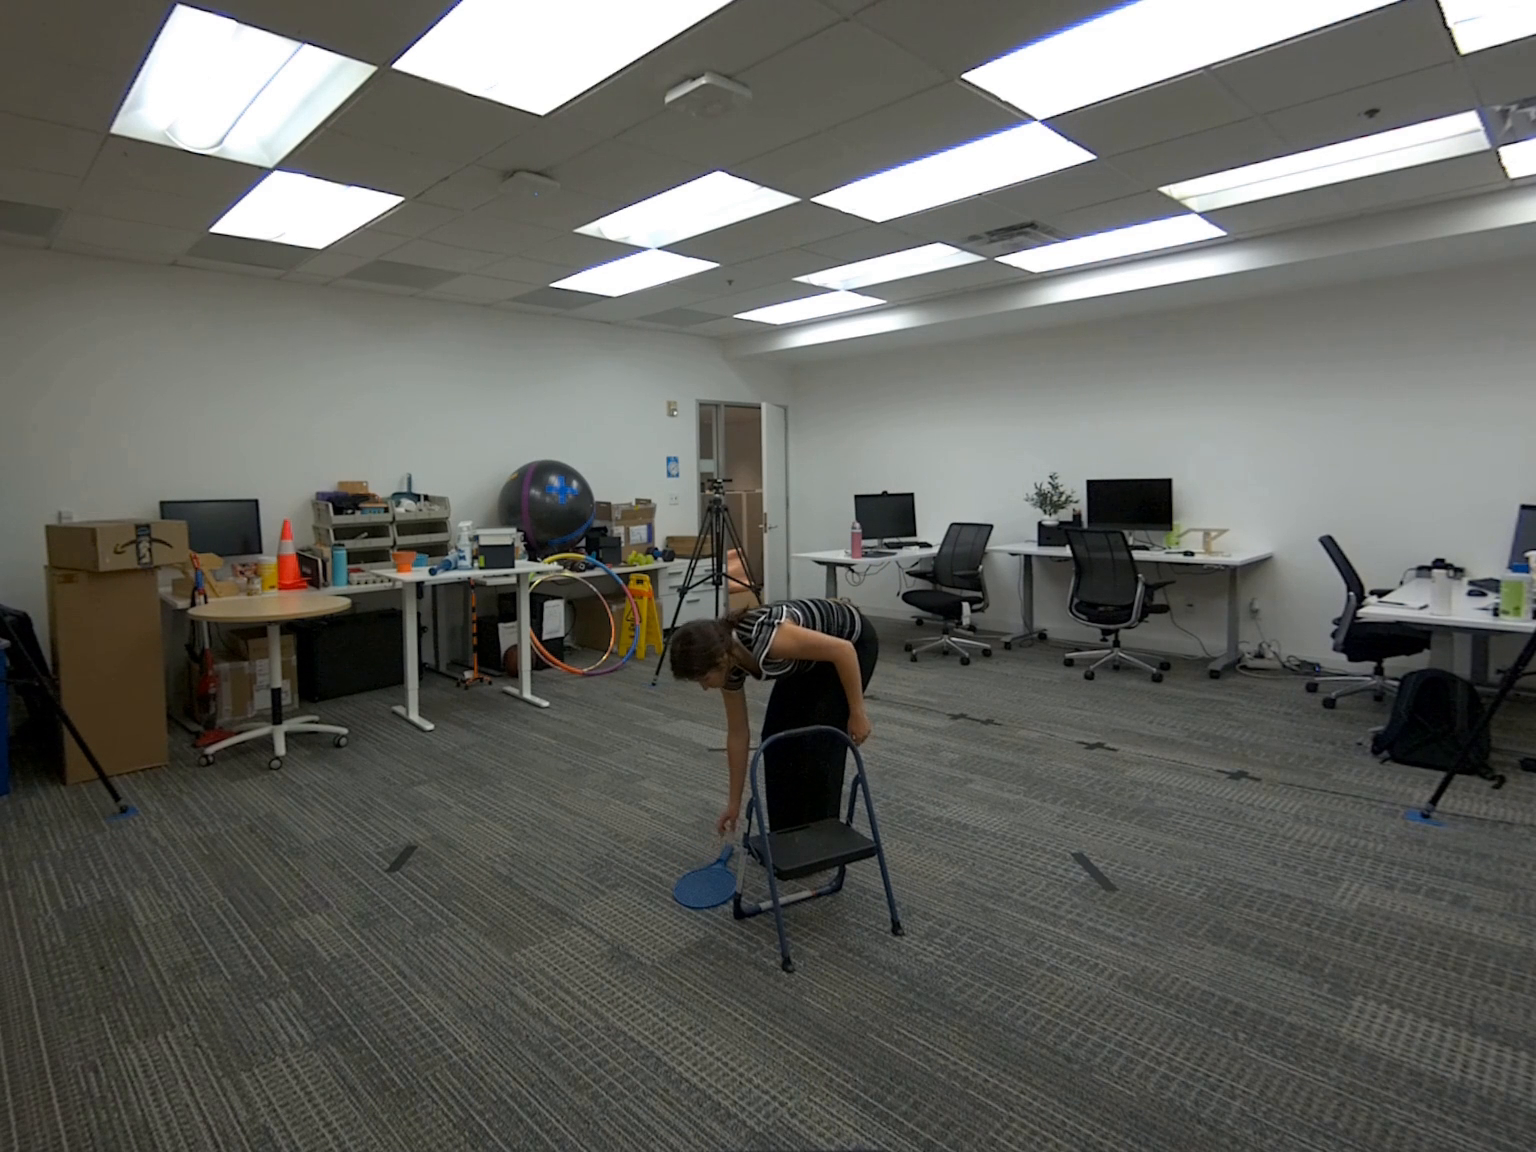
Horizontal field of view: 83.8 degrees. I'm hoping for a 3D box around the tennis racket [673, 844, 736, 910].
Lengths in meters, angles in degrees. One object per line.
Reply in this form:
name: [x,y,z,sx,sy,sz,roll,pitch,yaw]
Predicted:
tennis racket: [-0.187,1.044,2.989,0.217,0.031,0.429,0,8,15]
